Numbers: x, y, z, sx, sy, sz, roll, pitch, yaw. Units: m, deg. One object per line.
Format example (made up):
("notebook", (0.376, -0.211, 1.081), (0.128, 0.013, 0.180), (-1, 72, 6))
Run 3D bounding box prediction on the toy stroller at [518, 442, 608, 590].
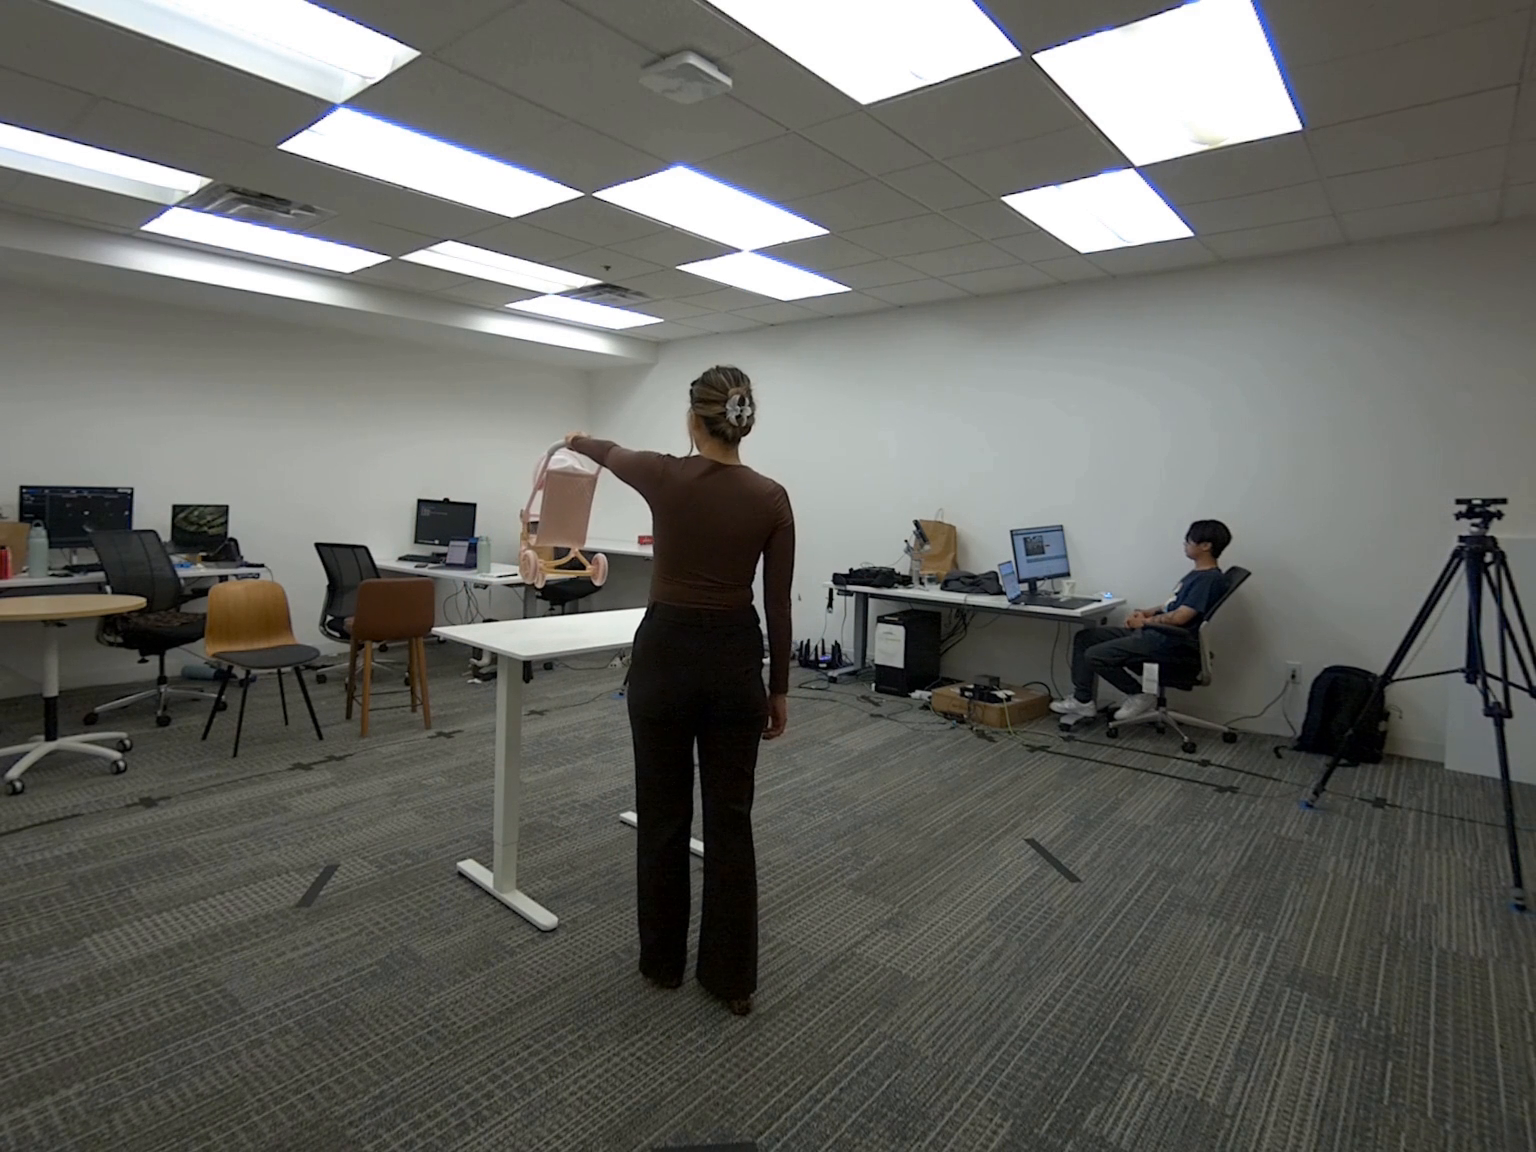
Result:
("toy stroller", (-0.724, -0.199, 2.926), (0.274, 0.533, 0.352), (2, 6, -30))
